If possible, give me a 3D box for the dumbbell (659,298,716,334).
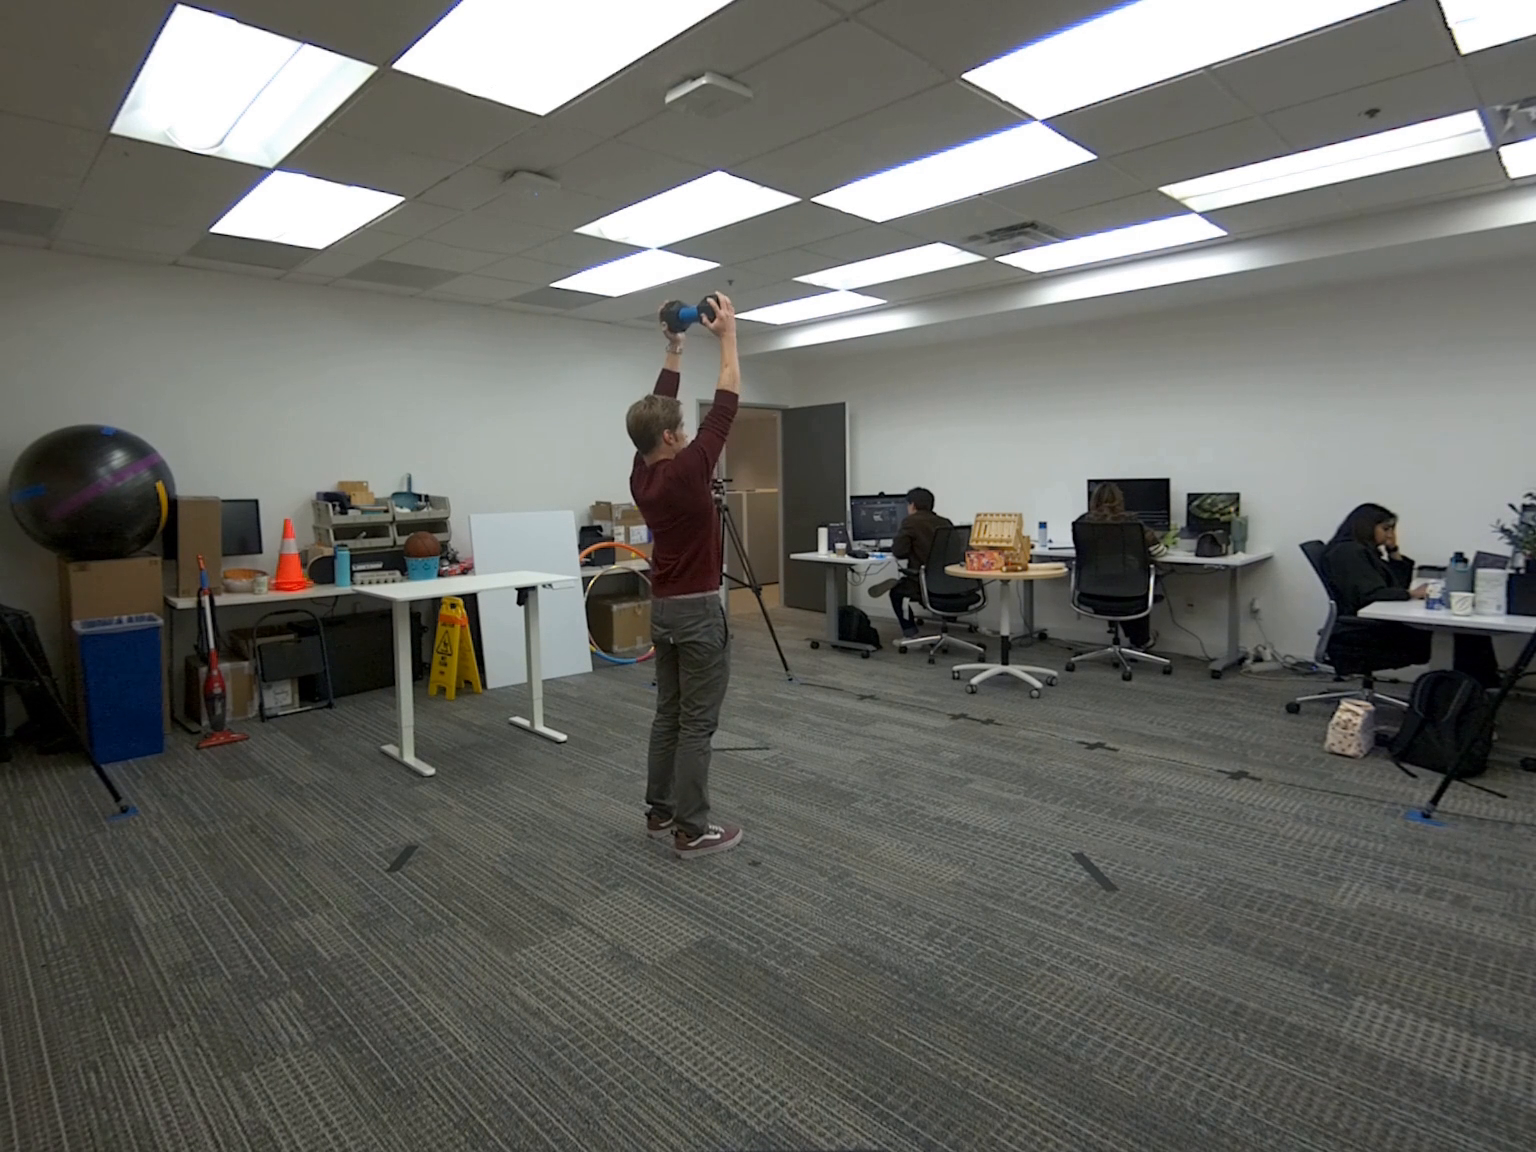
[{"bbox_3d":[-0.271,-0.974,3.243,0.107,0.120,0.303,-26,25,-36],"label":"dumbbell"}]
